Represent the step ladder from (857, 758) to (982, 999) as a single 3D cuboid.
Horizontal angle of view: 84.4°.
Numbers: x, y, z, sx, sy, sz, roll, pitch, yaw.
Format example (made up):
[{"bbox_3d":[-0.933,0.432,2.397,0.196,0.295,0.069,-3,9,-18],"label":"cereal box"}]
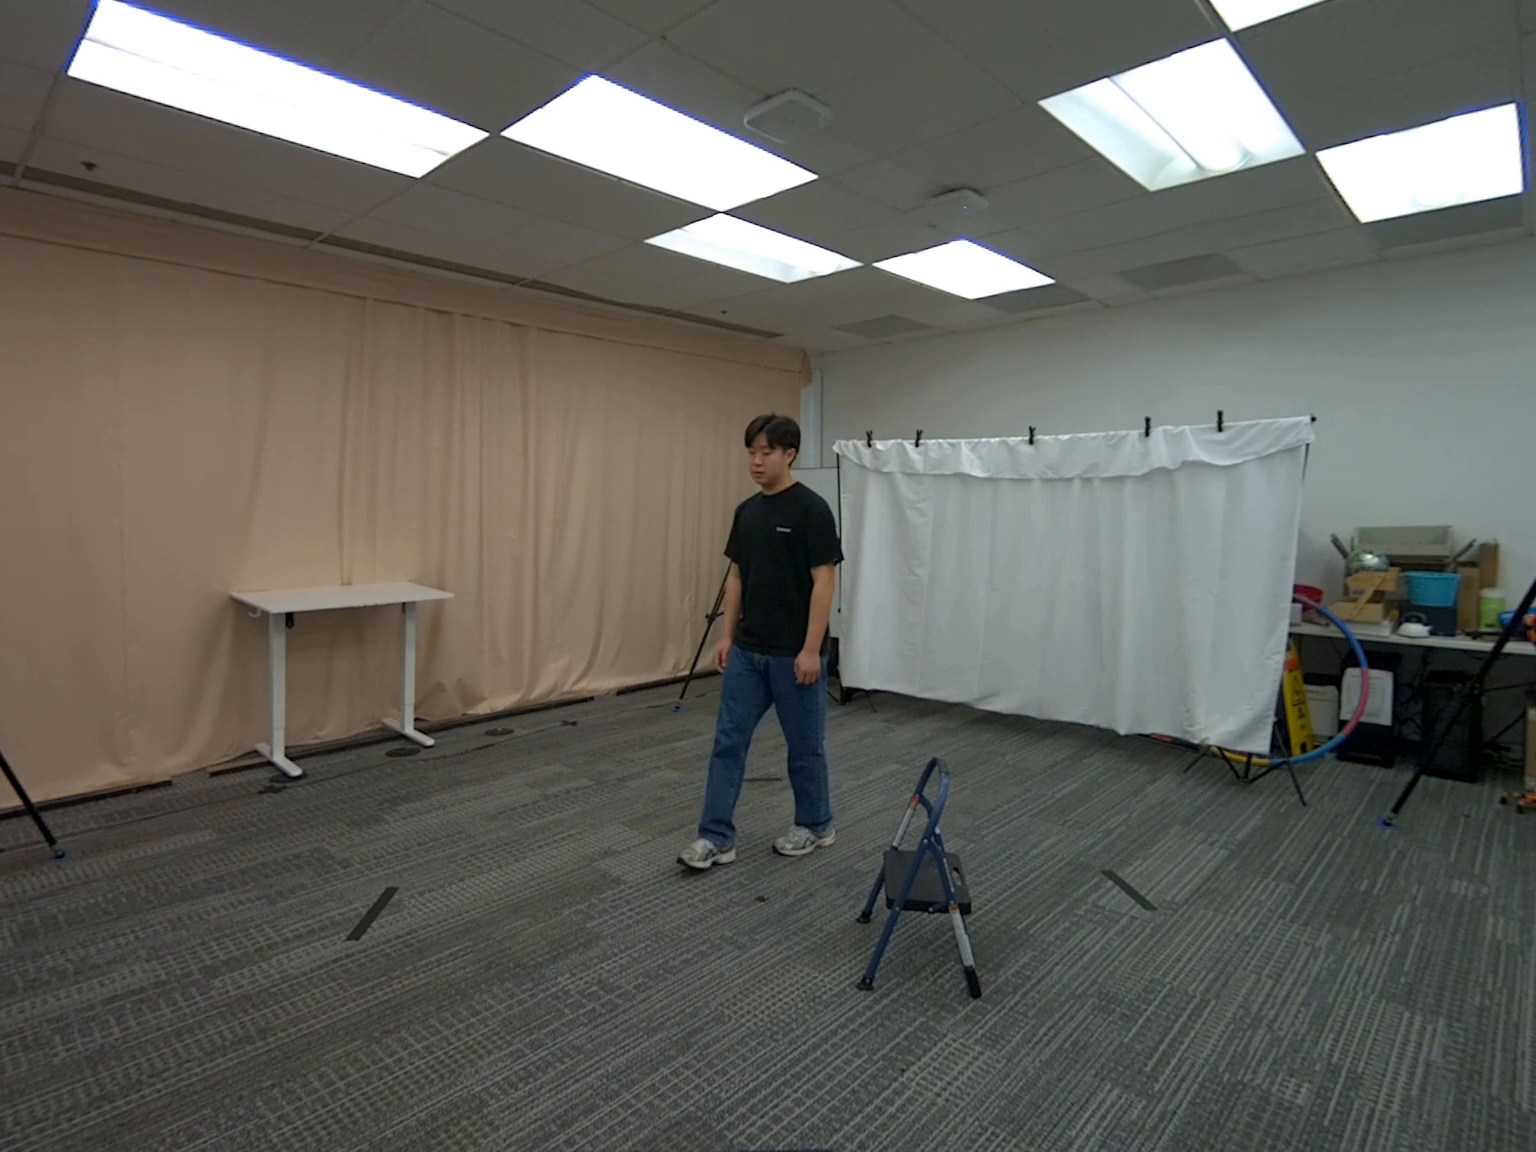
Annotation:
[{"bbox_3d":[0.460,0.875,2.584,0.352,0.605,0.428,0,4,6],"label":"step ladder"}]
